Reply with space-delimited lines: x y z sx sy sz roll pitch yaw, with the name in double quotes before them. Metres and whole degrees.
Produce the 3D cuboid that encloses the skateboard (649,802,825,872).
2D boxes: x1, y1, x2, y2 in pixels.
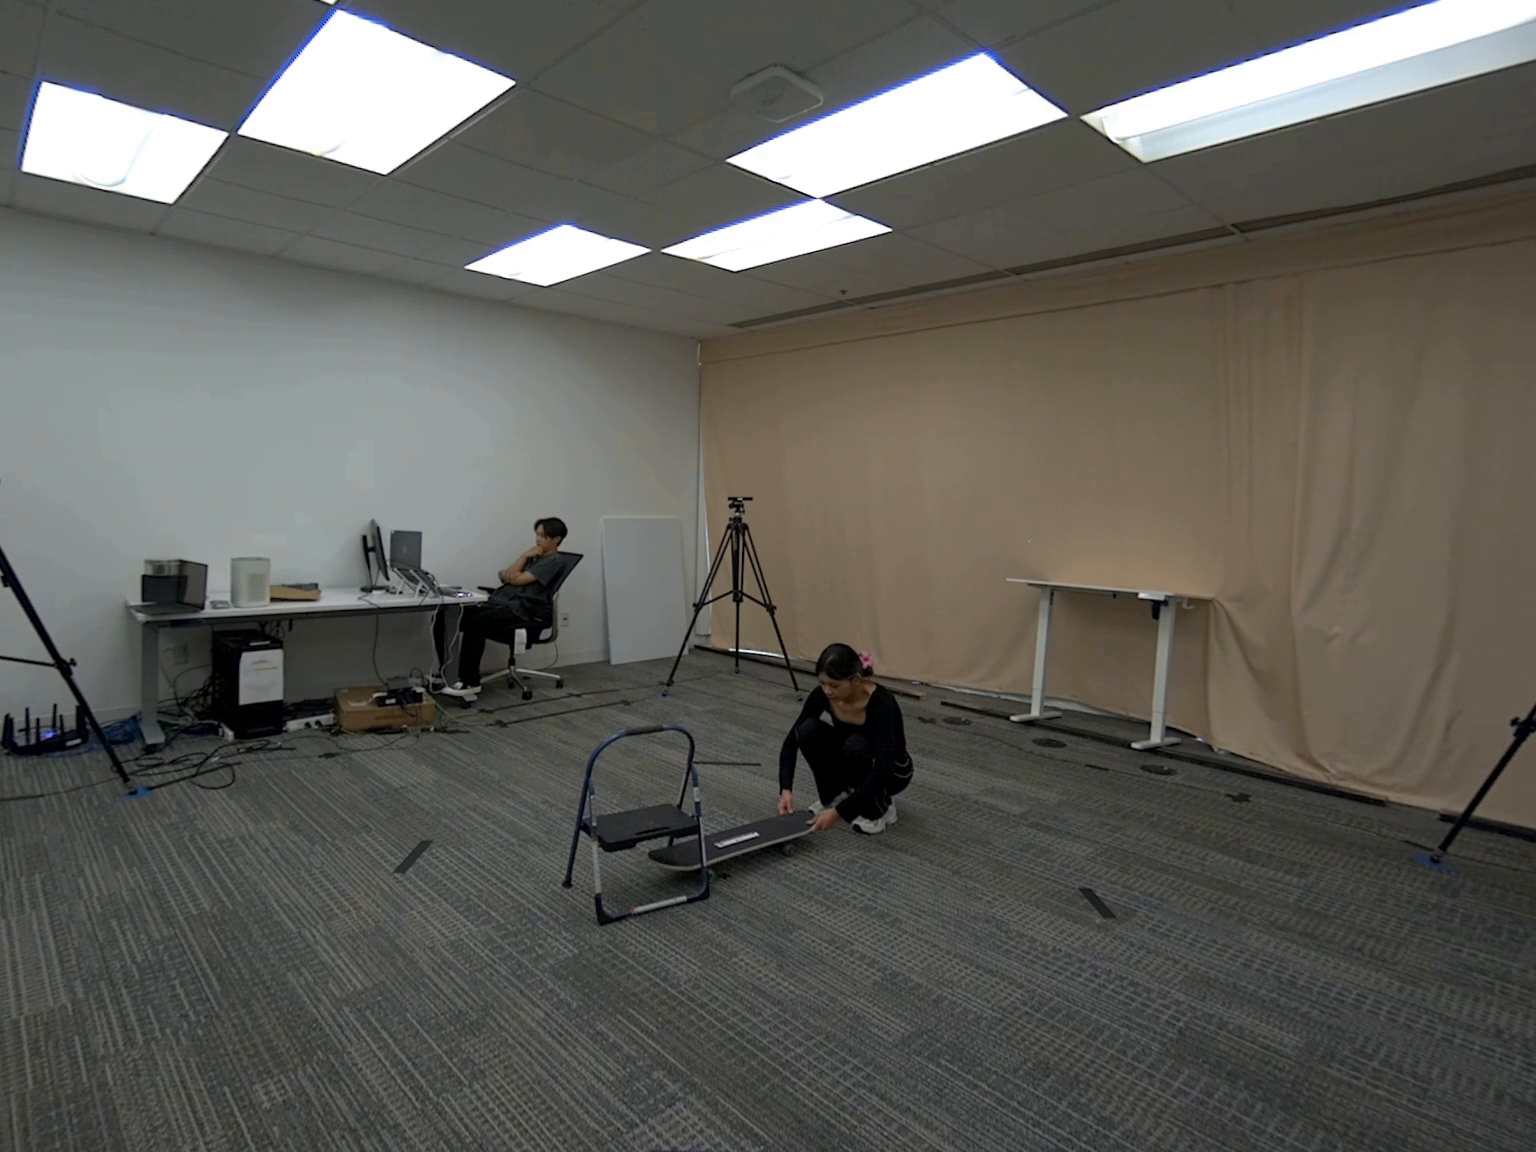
"skateboard" -0.123 1.038 3.217 0.768 0.110 0.198 -3 7 -39
